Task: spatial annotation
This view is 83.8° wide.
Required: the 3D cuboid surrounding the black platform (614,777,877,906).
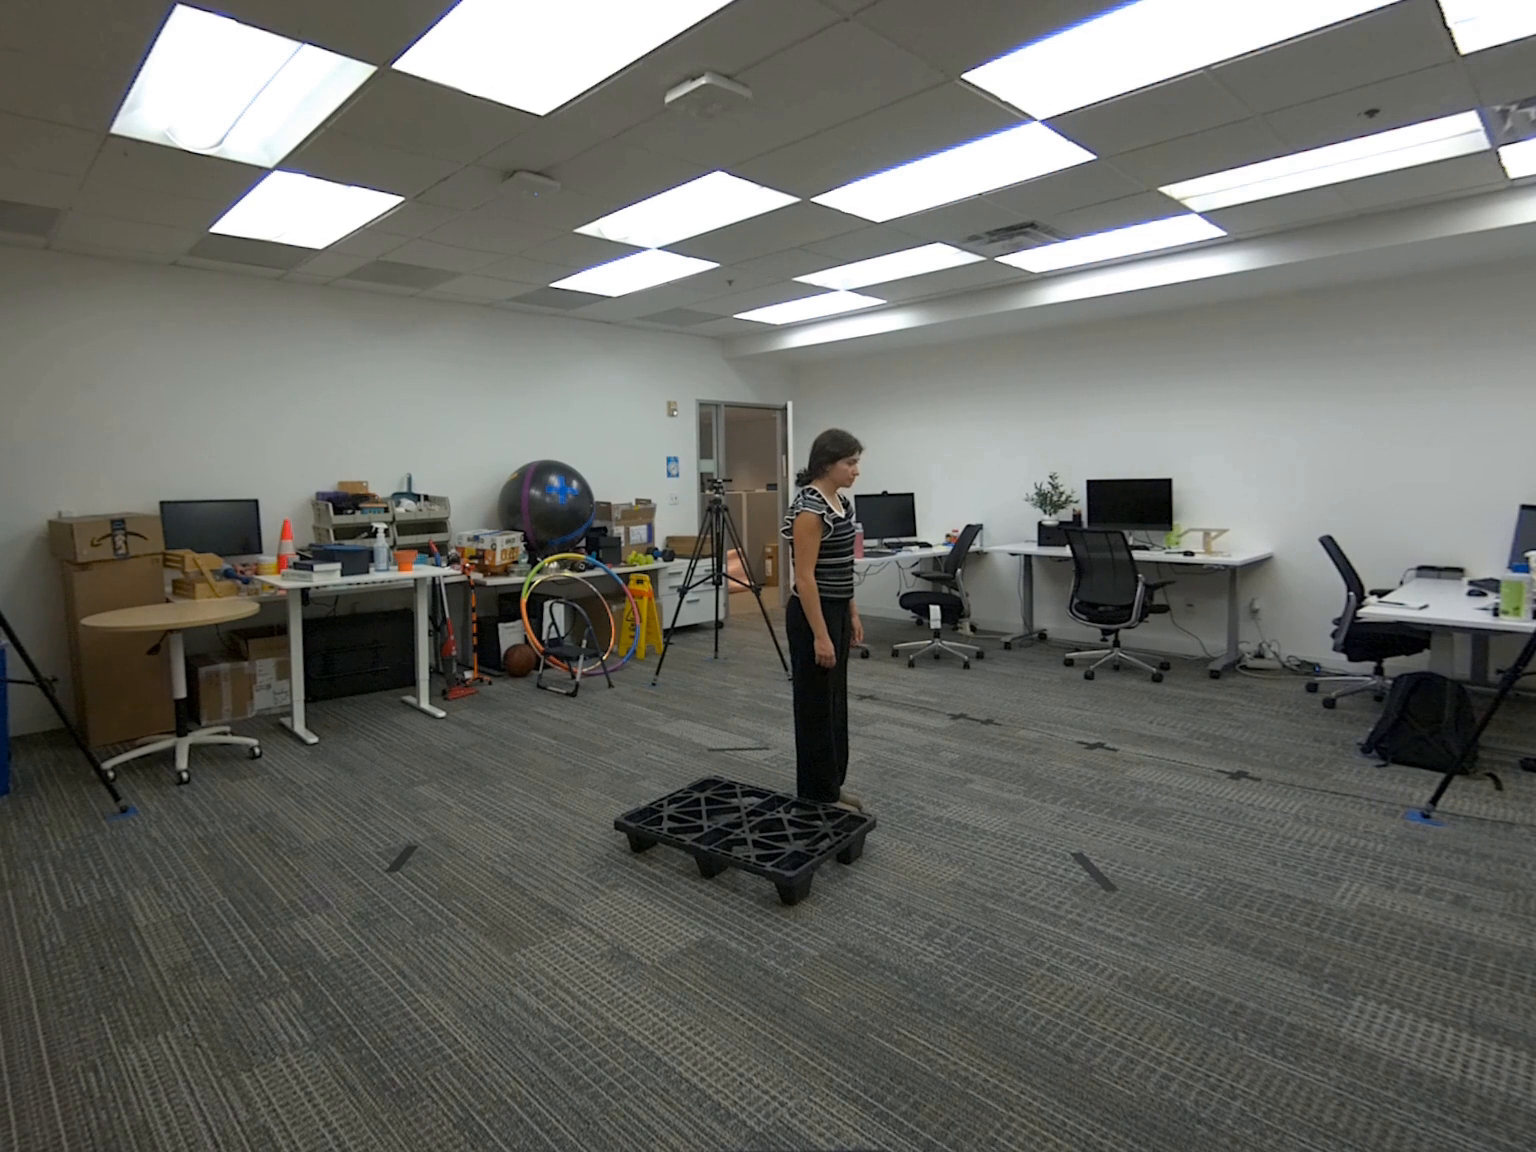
[{"bbox_3d":[-0.088,0.969,3.194,0.829,0.143,0.590,4,7,36],"label":"black platform"}]
